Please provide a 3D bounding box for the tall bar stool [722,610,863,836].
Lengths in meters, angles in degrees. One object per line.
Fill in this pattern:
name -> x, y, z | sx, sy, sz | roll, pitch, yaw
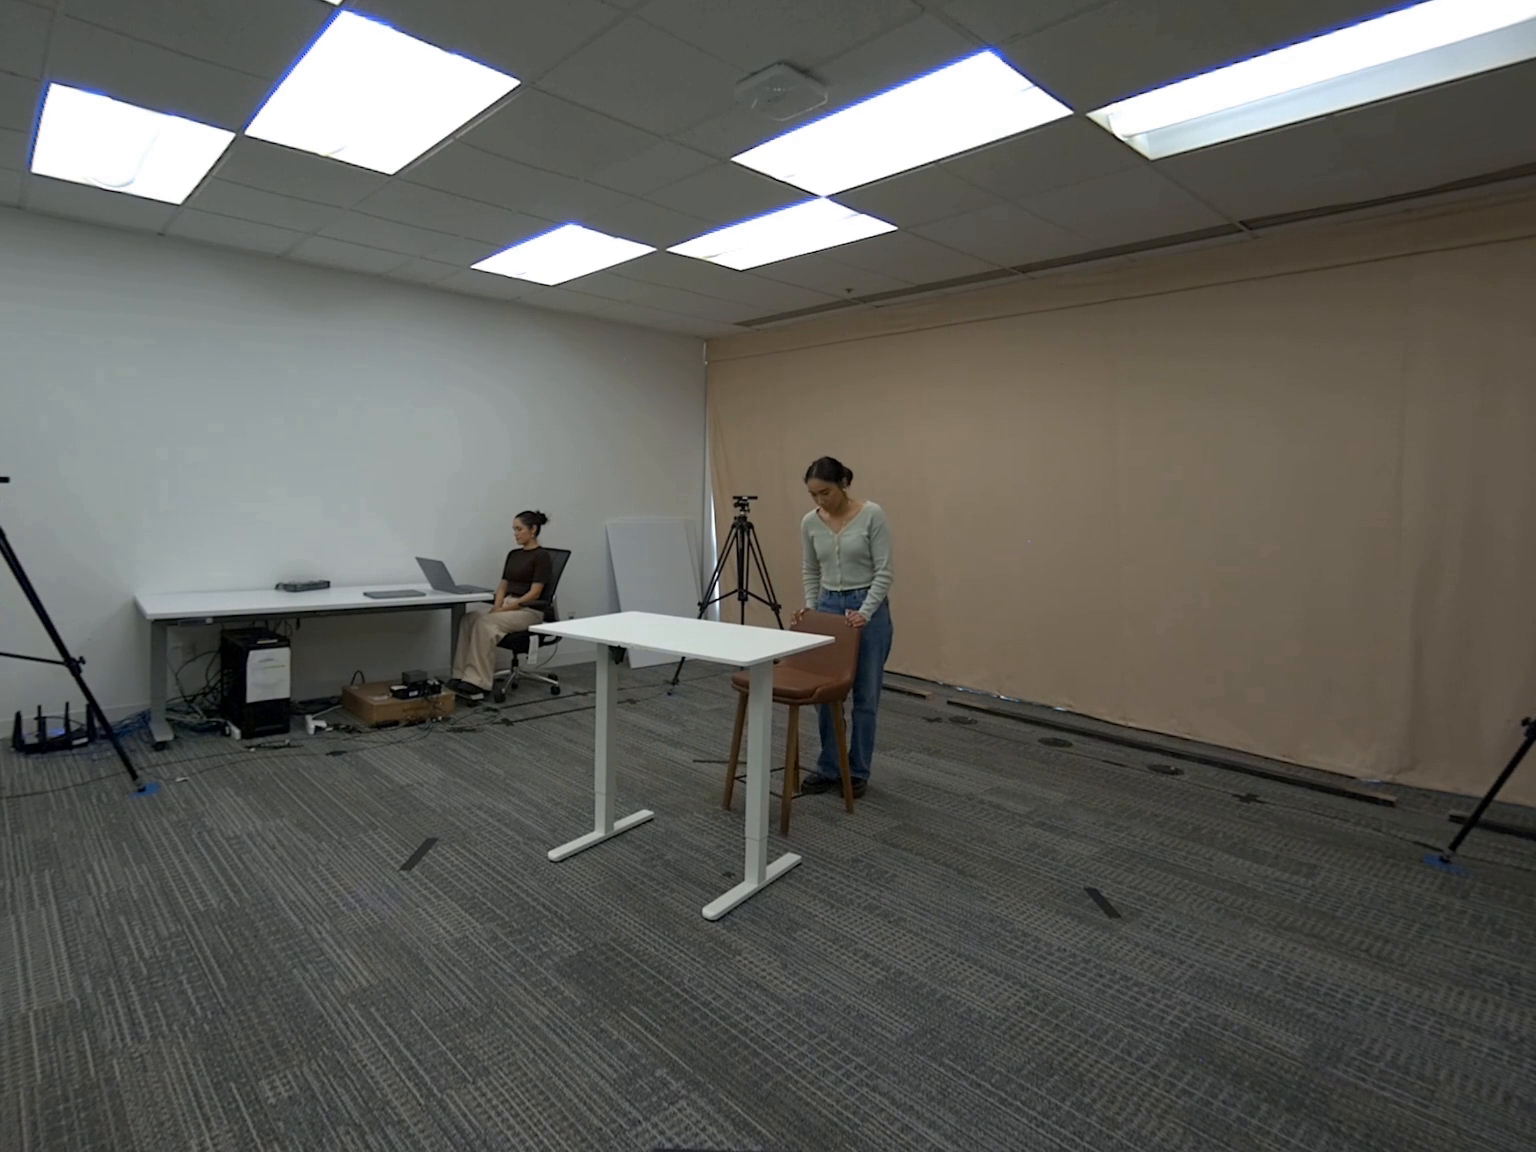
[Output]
tall bar stool -> 0.103, 0.614, 3.735 | 0.456, 0.889, 0.468 | 2, 2, -41
